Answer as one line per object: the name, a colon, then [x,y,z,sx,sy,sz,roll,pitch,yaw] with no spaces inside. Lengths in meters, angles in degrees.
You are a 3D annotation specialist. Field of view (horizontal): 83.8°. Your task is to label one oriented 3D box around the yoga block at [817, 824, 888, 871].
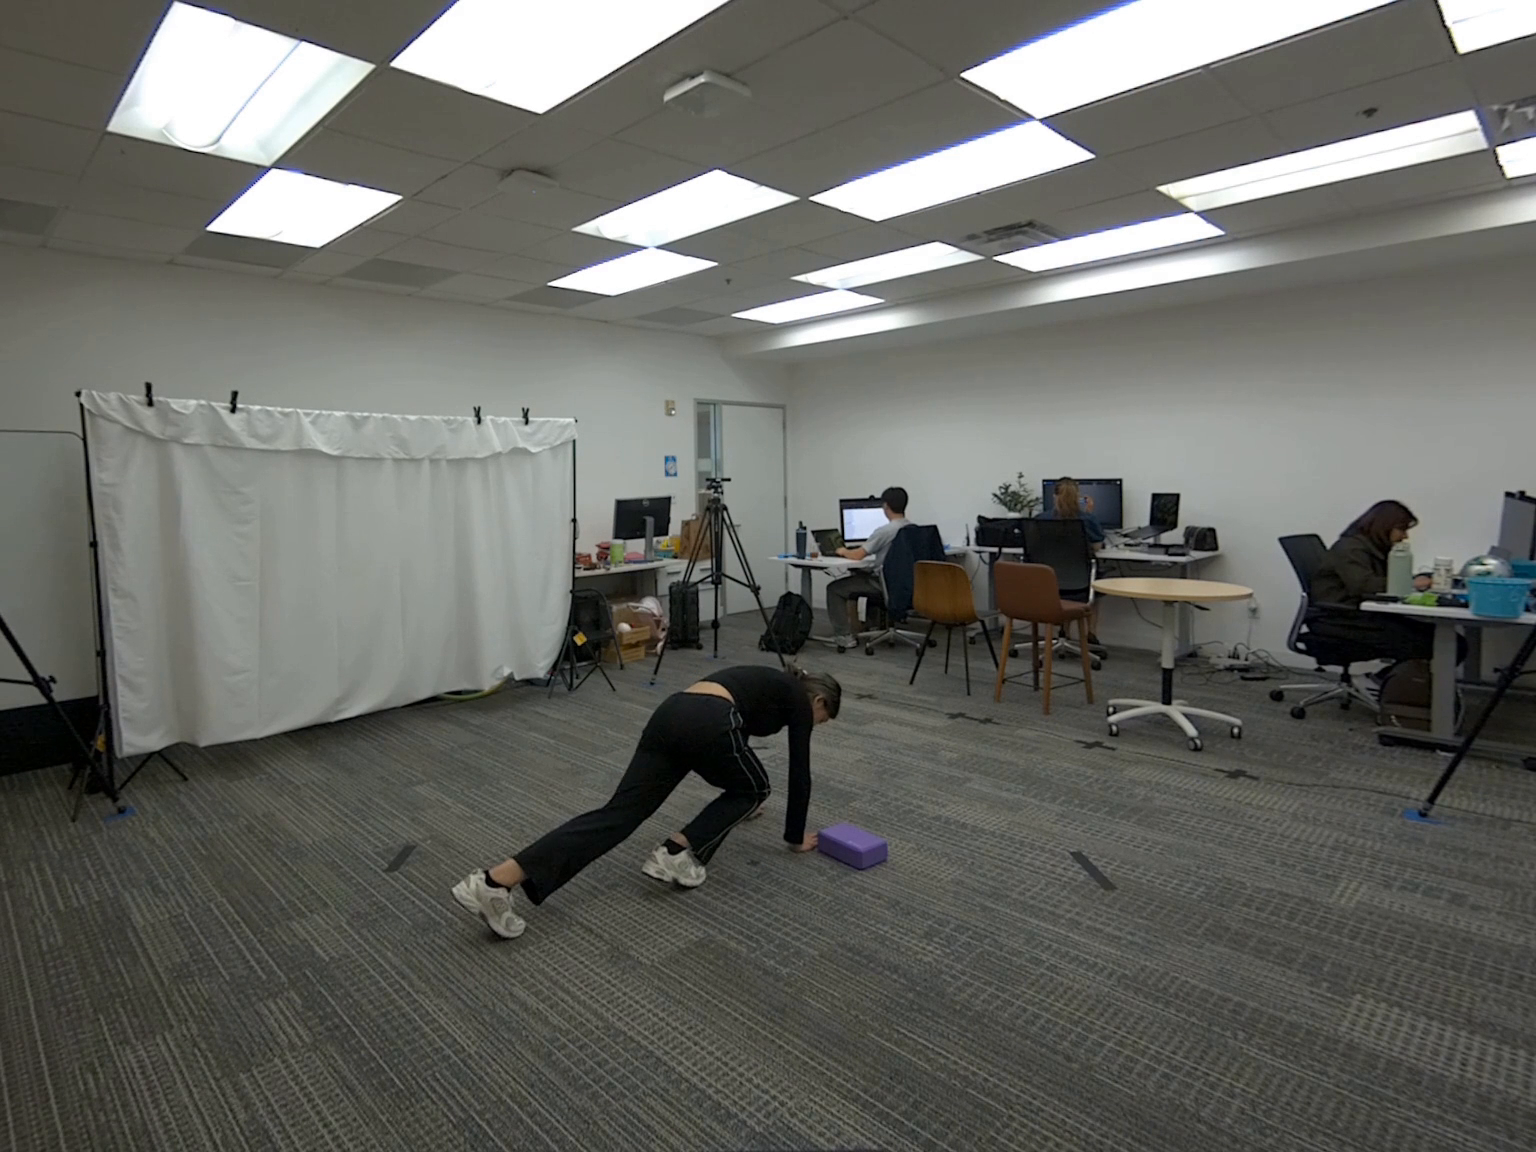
yoga block: [0.312,0.989,3.149,0.145,0.076,0.236,-5,8,-39]
